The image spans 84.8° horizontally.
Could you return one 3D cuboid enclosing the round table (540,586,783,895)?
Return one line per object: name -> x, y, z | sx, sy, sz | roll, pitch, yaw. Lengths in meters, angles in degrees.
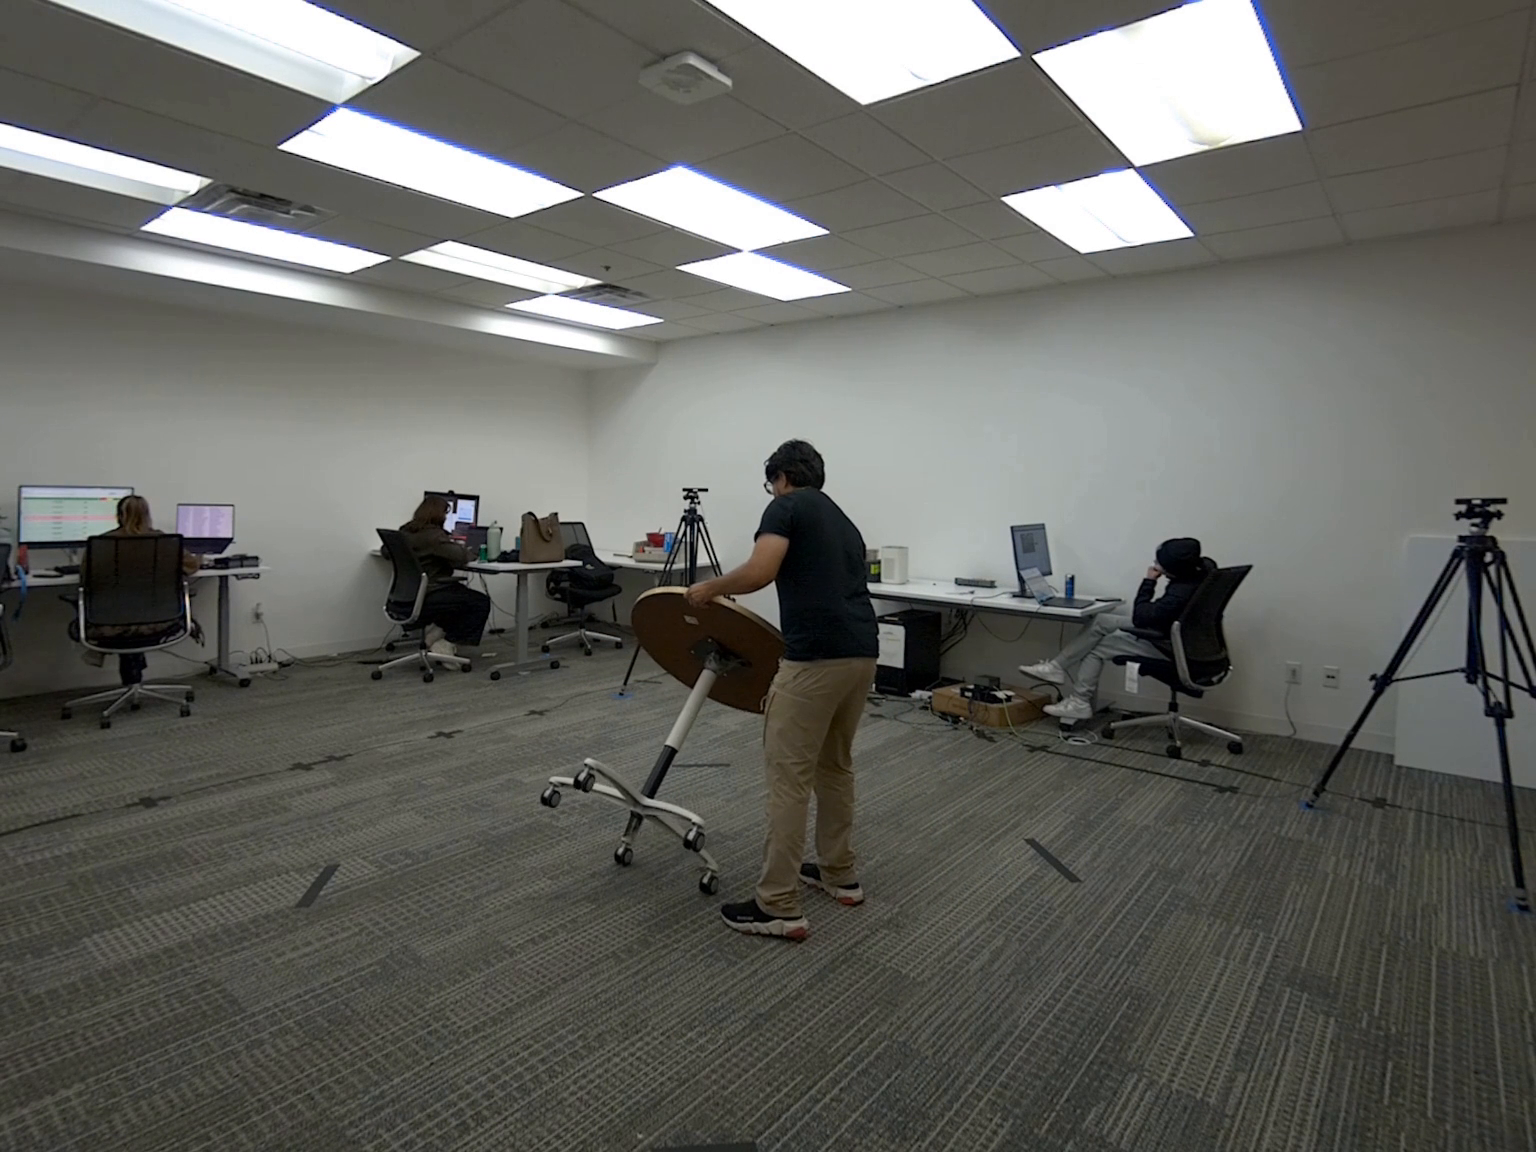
round table -> -0.355, 0.580, 3.067 | 0.809, 0.793, 0.755 | 3, -41, 32
